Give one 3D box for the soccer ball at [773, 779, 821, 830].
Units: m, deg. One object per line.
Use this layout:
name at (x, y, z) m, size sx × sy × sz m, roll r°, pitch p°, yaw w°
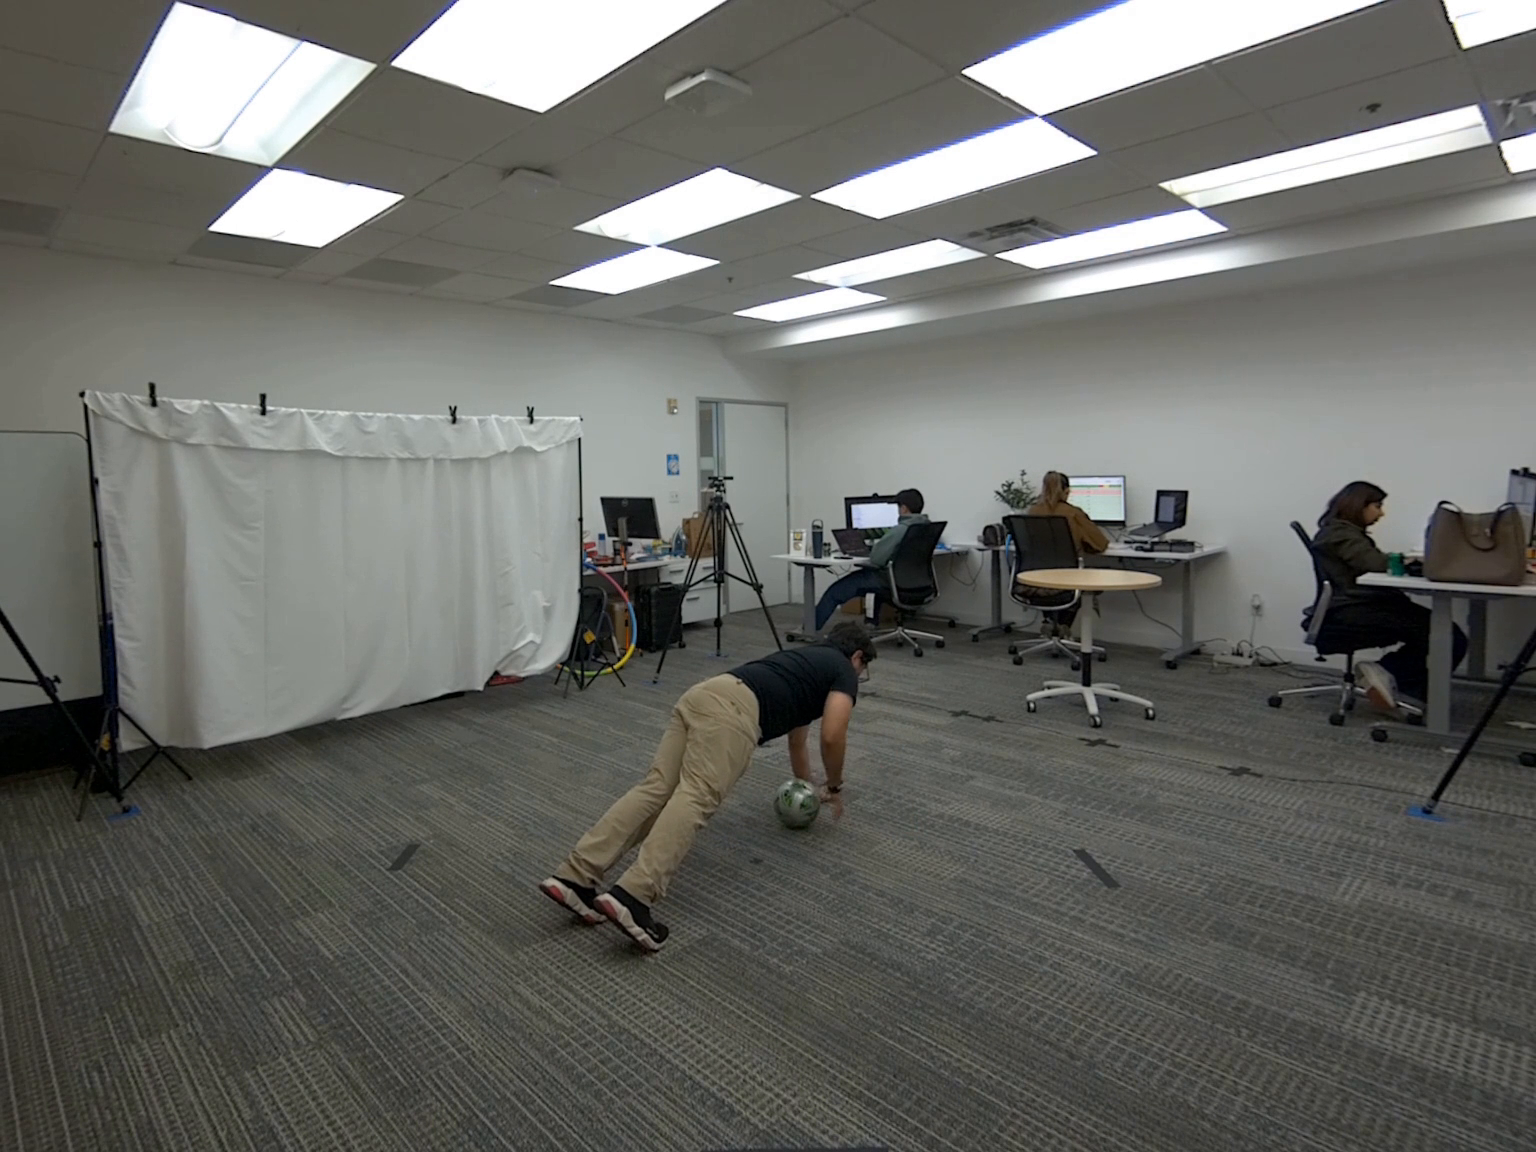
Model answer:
soccer ball at (0.115, 0.906, 3.416) m, size 0.187 × 0.187 × 0.188 m, roll -1°, pitch 5°, yaw -2°
